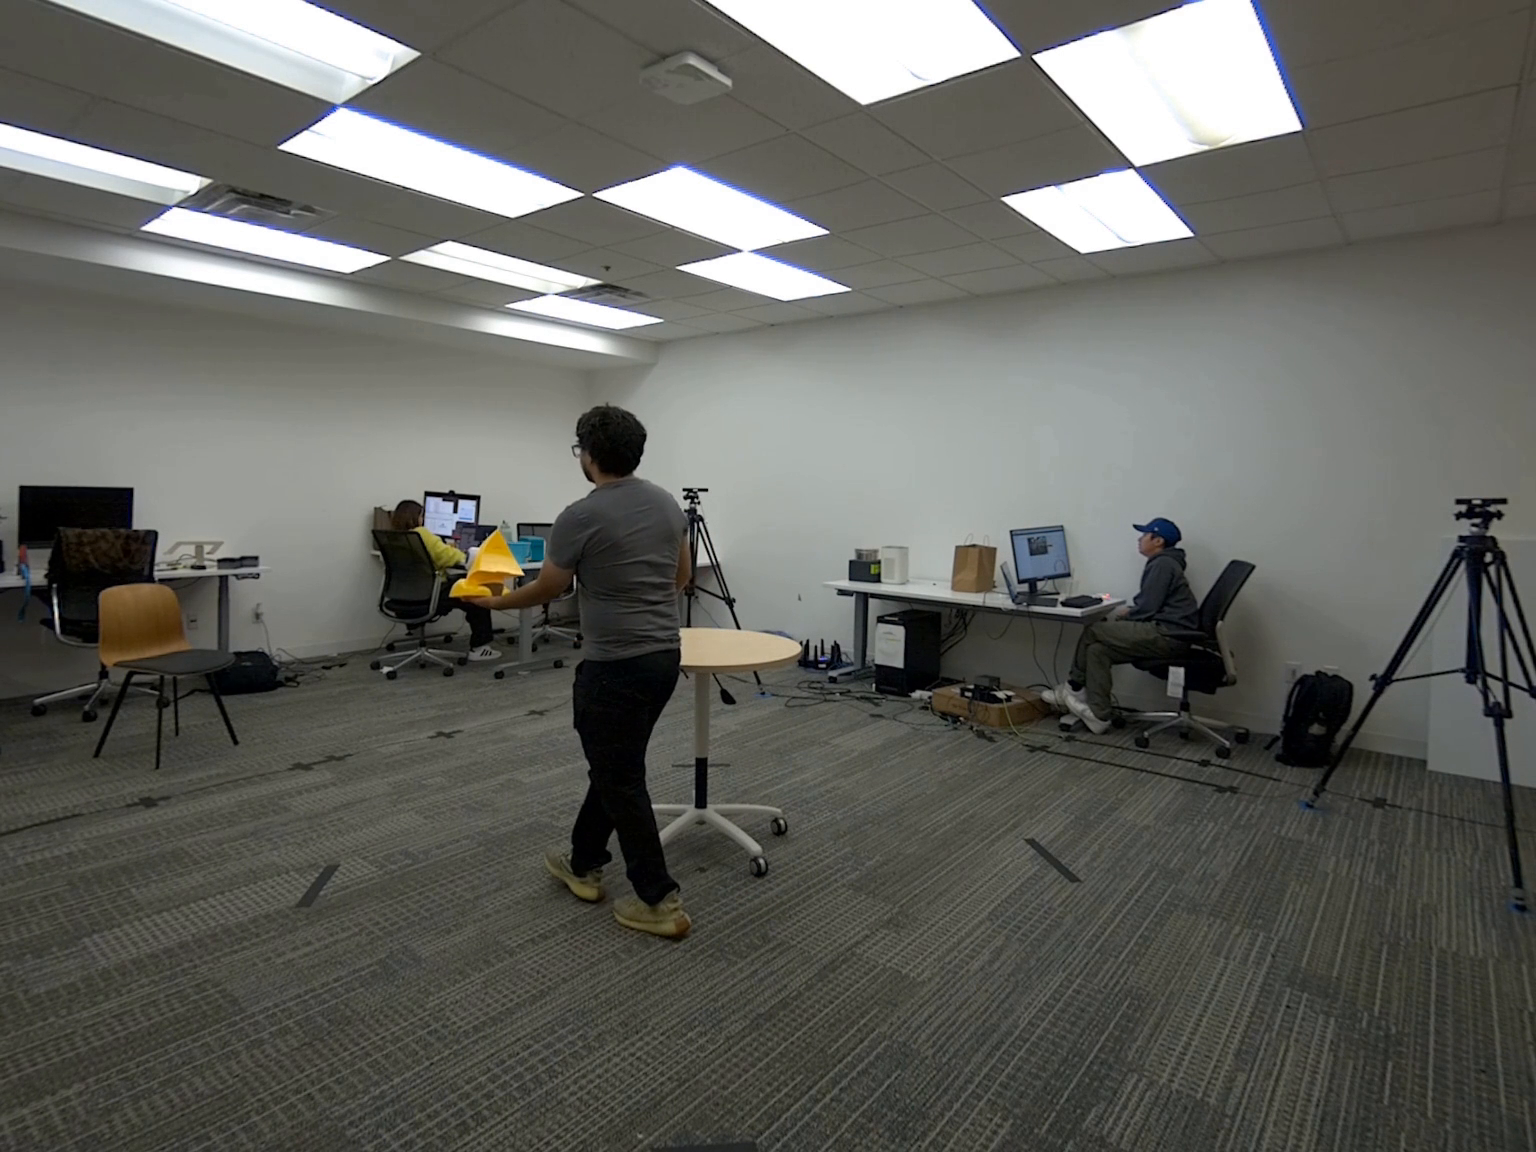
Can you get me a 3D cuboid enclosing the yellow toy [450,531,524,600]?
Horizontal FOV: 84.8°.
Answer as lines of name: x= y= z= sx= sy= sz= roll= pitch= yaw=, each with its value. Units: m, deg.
yellow toy: x=-0.995 y=-0.045 z=2.938 sx=0.198 sy=0.232 sz=0.198 roll=-4 pitch=-9 yaw=31
